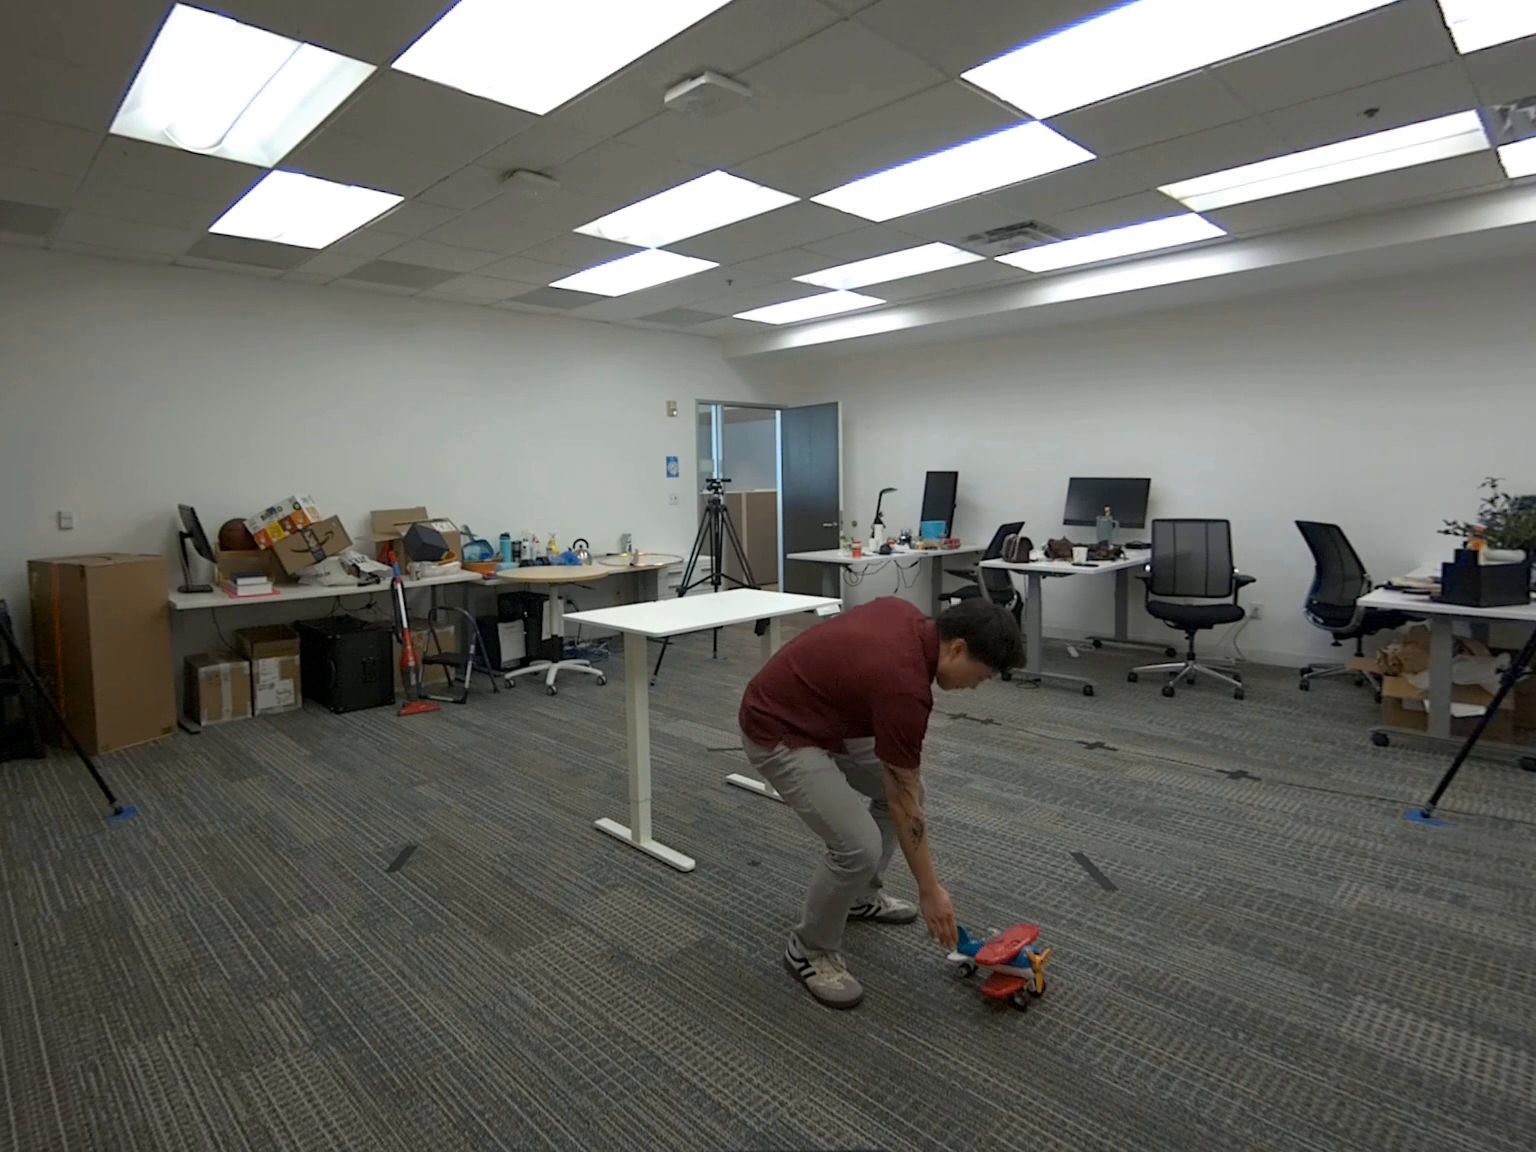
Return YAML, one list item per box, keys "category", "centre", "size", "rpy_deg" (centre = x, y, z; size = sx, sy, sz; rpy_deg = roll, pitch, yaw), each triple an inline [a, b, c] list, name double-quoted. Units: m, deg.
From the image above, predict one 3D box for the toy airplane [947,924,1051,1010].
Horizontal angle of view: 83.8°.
- category: "toy airplane"
  centre: [0.629, 1.050, 2.307]
  size: [0.264, 0.156, 0.248]
  rpy_deg: [2, 6, 18]
